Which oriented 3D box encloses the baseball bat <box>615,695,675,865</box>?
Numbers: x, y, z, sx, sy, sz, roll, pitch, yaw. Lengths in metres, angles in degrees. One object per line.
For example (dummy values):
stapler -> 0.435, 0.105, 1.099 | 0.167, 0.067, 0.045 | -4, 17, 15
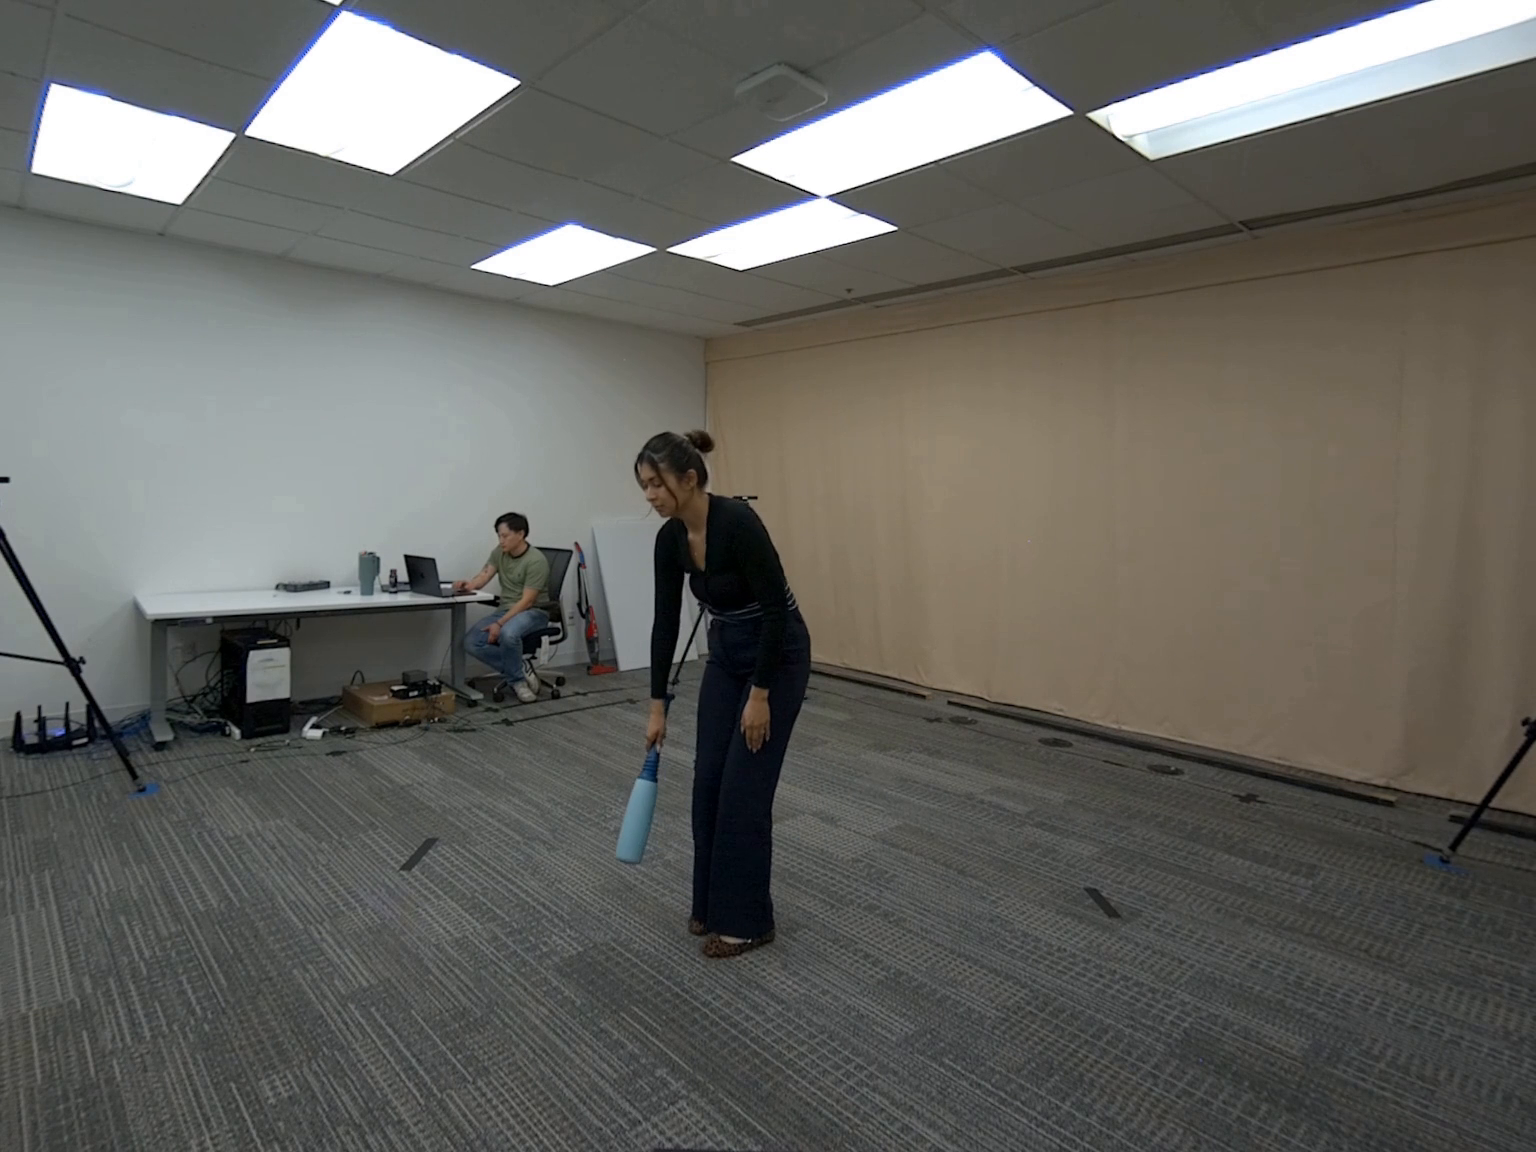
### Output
baseball bat -> -0.375, 0.643, 2.685 | 0.089, 0.549, 0.088 | 11, -20, 2
